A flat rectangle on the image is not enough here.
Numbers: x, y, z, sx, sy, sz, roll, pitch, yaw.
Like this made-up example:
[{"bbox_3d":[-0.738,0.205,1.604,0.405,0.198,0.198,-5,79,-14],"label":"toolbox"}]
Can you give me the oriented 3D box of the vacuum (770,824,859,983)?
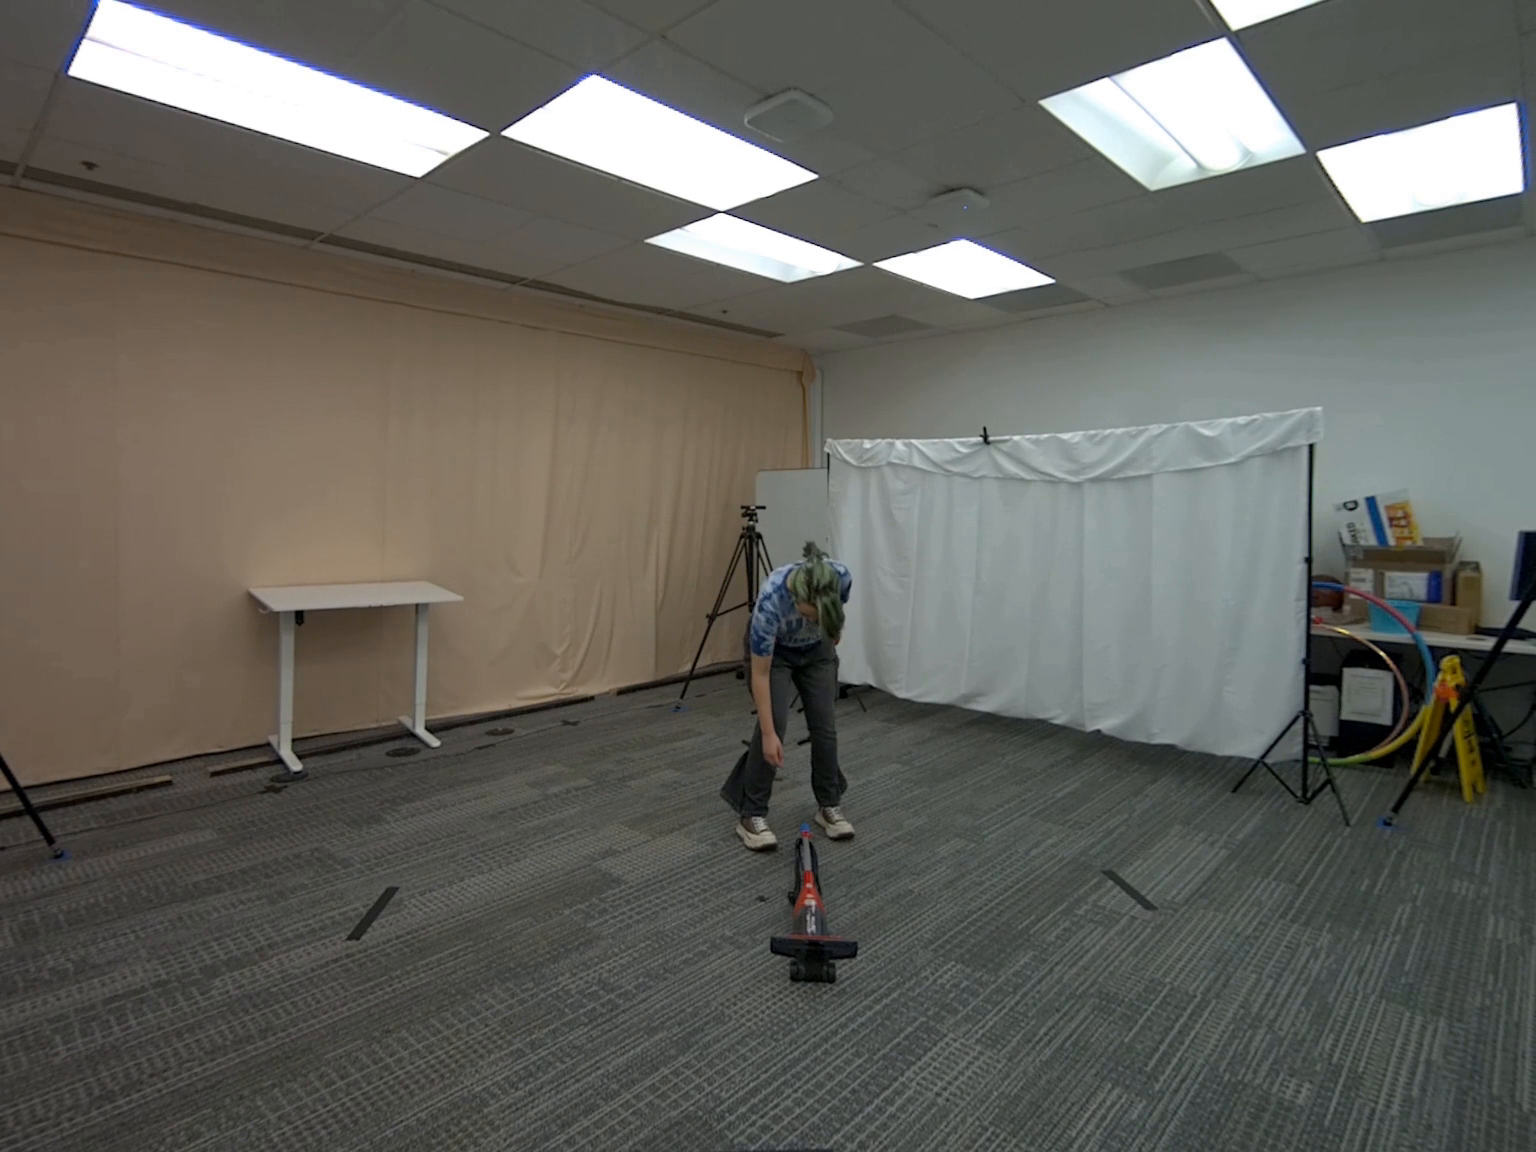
[{"bbox_3d":[0.135,1.074,2.959,0.253,0.144,1.048,-2,3,0],"label":"vacuum"}]
